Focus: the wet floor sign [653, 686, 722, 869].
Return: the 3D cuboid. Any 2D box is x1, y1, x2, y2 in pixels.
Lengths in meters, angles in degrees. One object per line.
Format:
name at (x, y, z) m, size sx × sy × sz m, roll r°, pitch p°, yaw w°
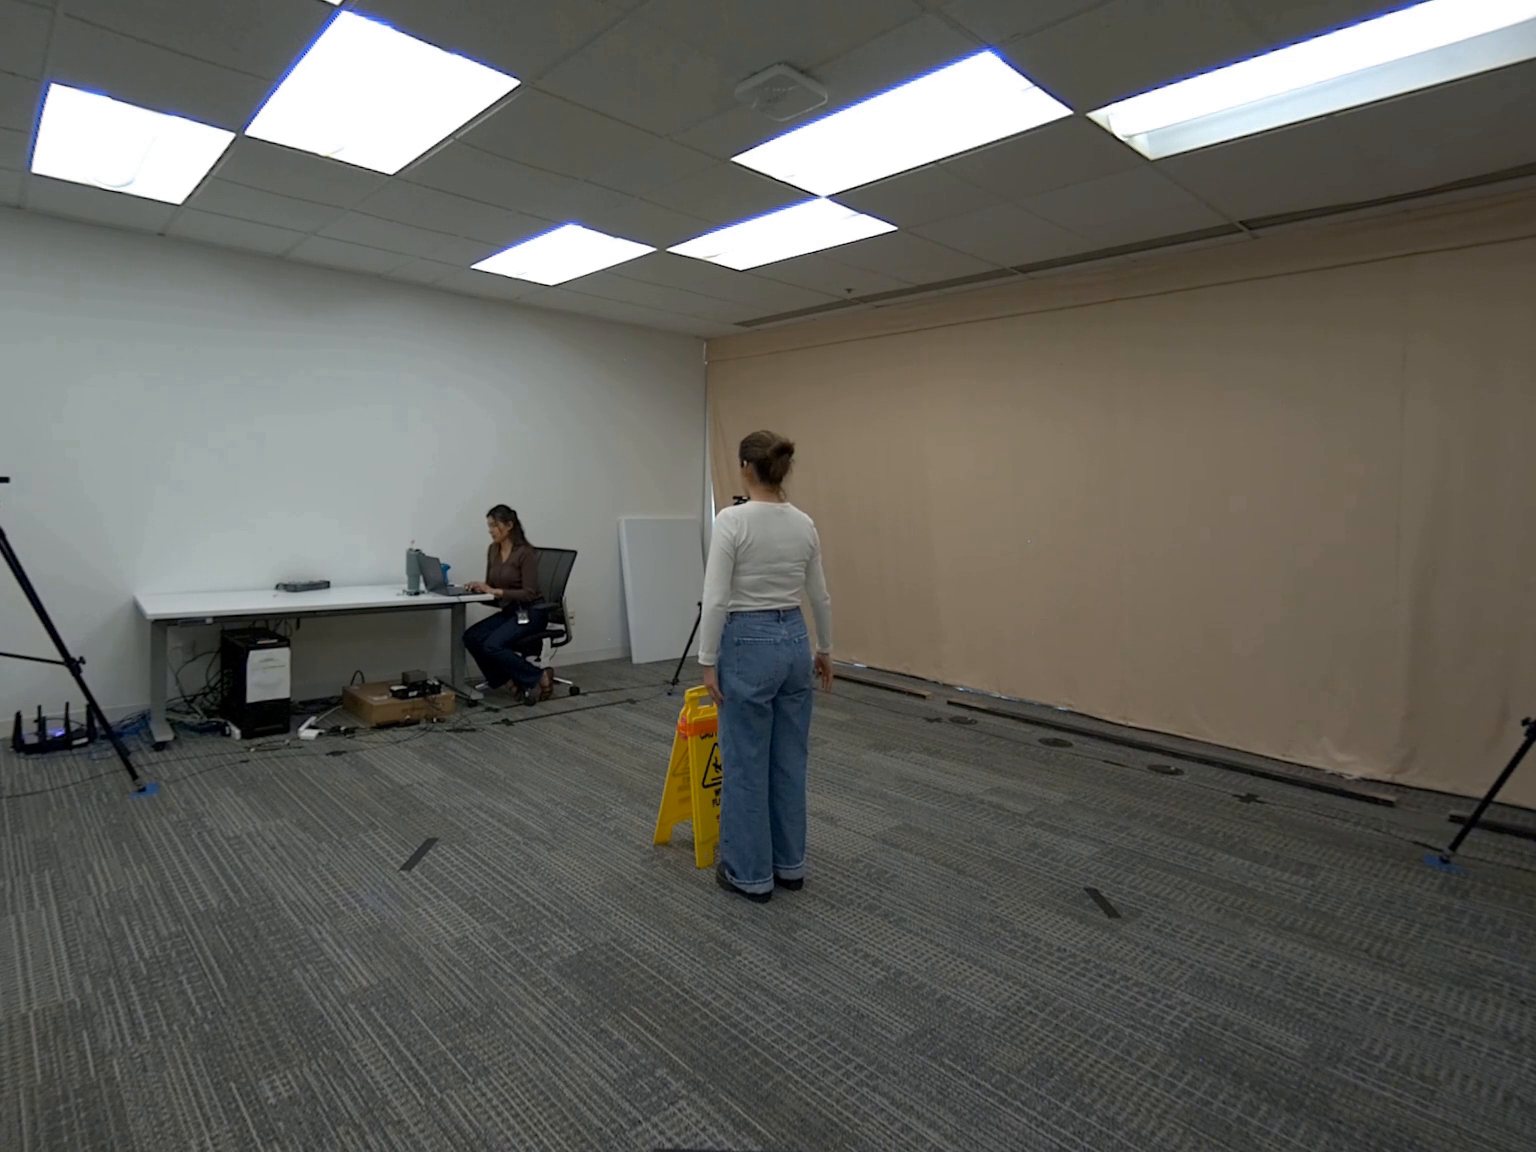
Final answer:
wet floor sign at (-0.262, 0.756, 3.324) m, size 0.276 × 0.645 × 0.297 m, roll -1°, pitch 3°, yaw -44°
